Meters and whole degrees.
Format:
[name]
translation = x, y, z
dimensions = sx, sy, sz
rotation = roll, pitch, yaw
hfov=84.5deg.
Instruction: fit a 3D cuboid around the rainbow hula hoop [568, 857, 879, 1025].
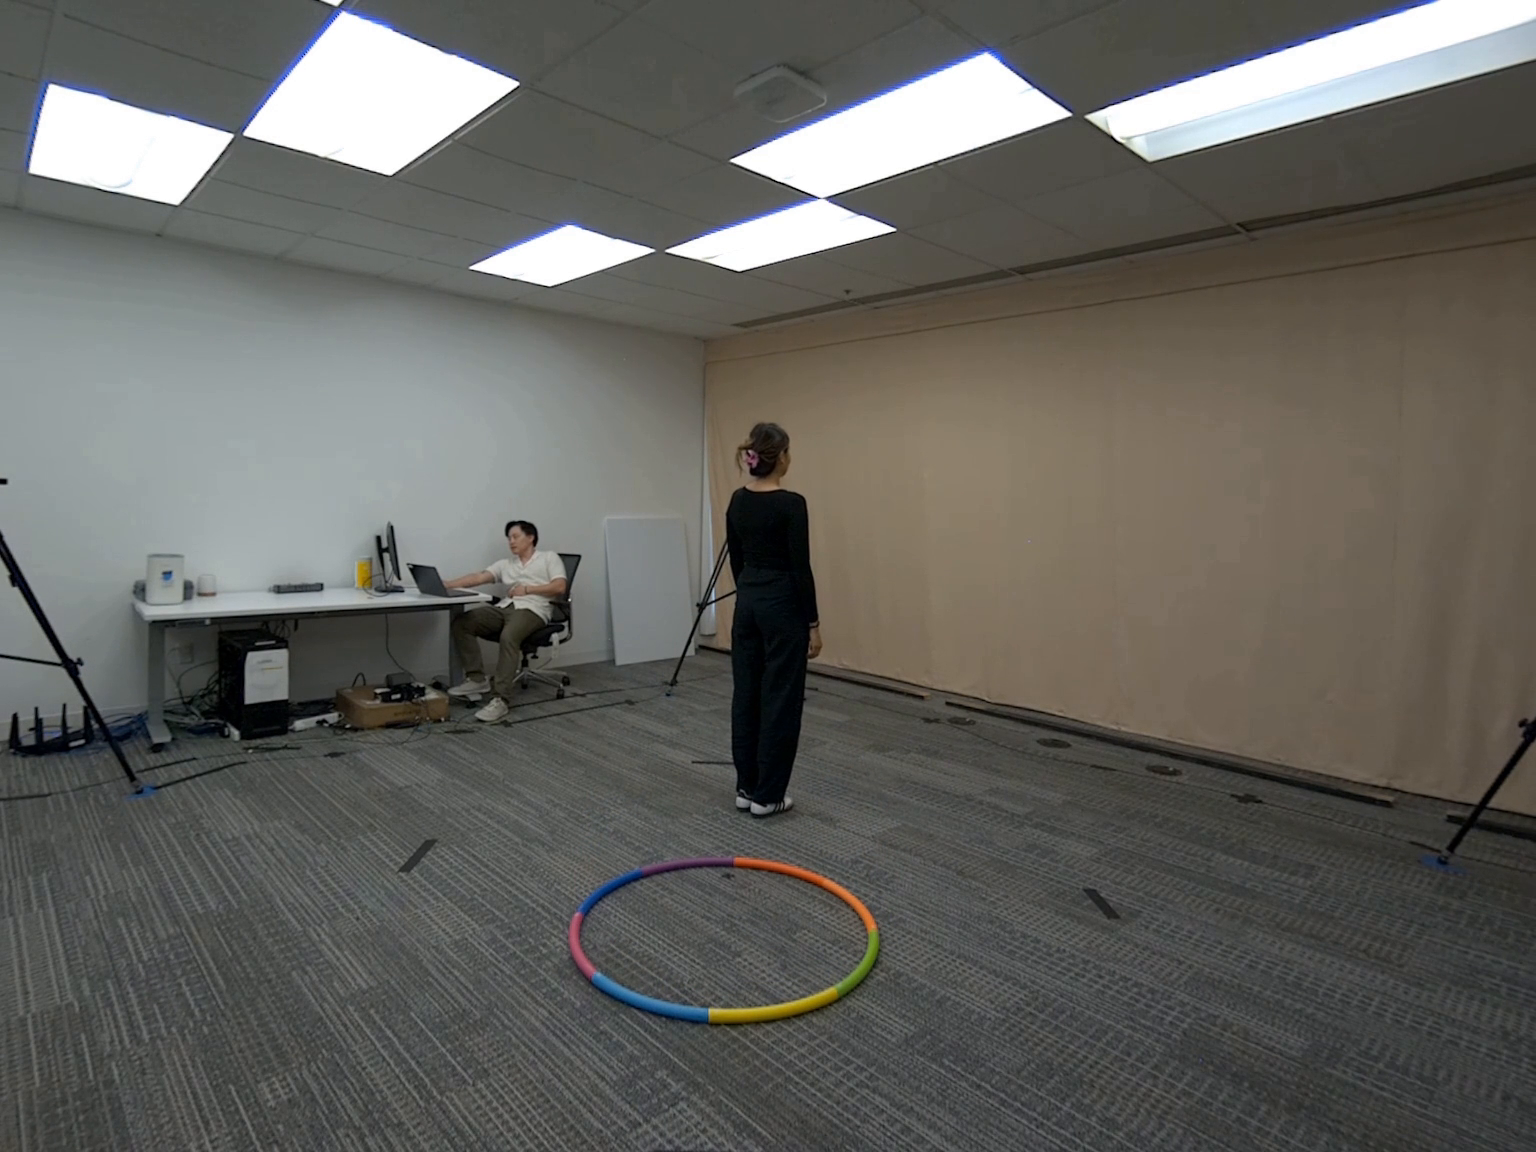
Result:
[rainbow hula hoop]
translation = -0.148, 1.110, 2.715
dimensions = 0.978, 0.035, 0.982
rotation = 1, 5, -1
